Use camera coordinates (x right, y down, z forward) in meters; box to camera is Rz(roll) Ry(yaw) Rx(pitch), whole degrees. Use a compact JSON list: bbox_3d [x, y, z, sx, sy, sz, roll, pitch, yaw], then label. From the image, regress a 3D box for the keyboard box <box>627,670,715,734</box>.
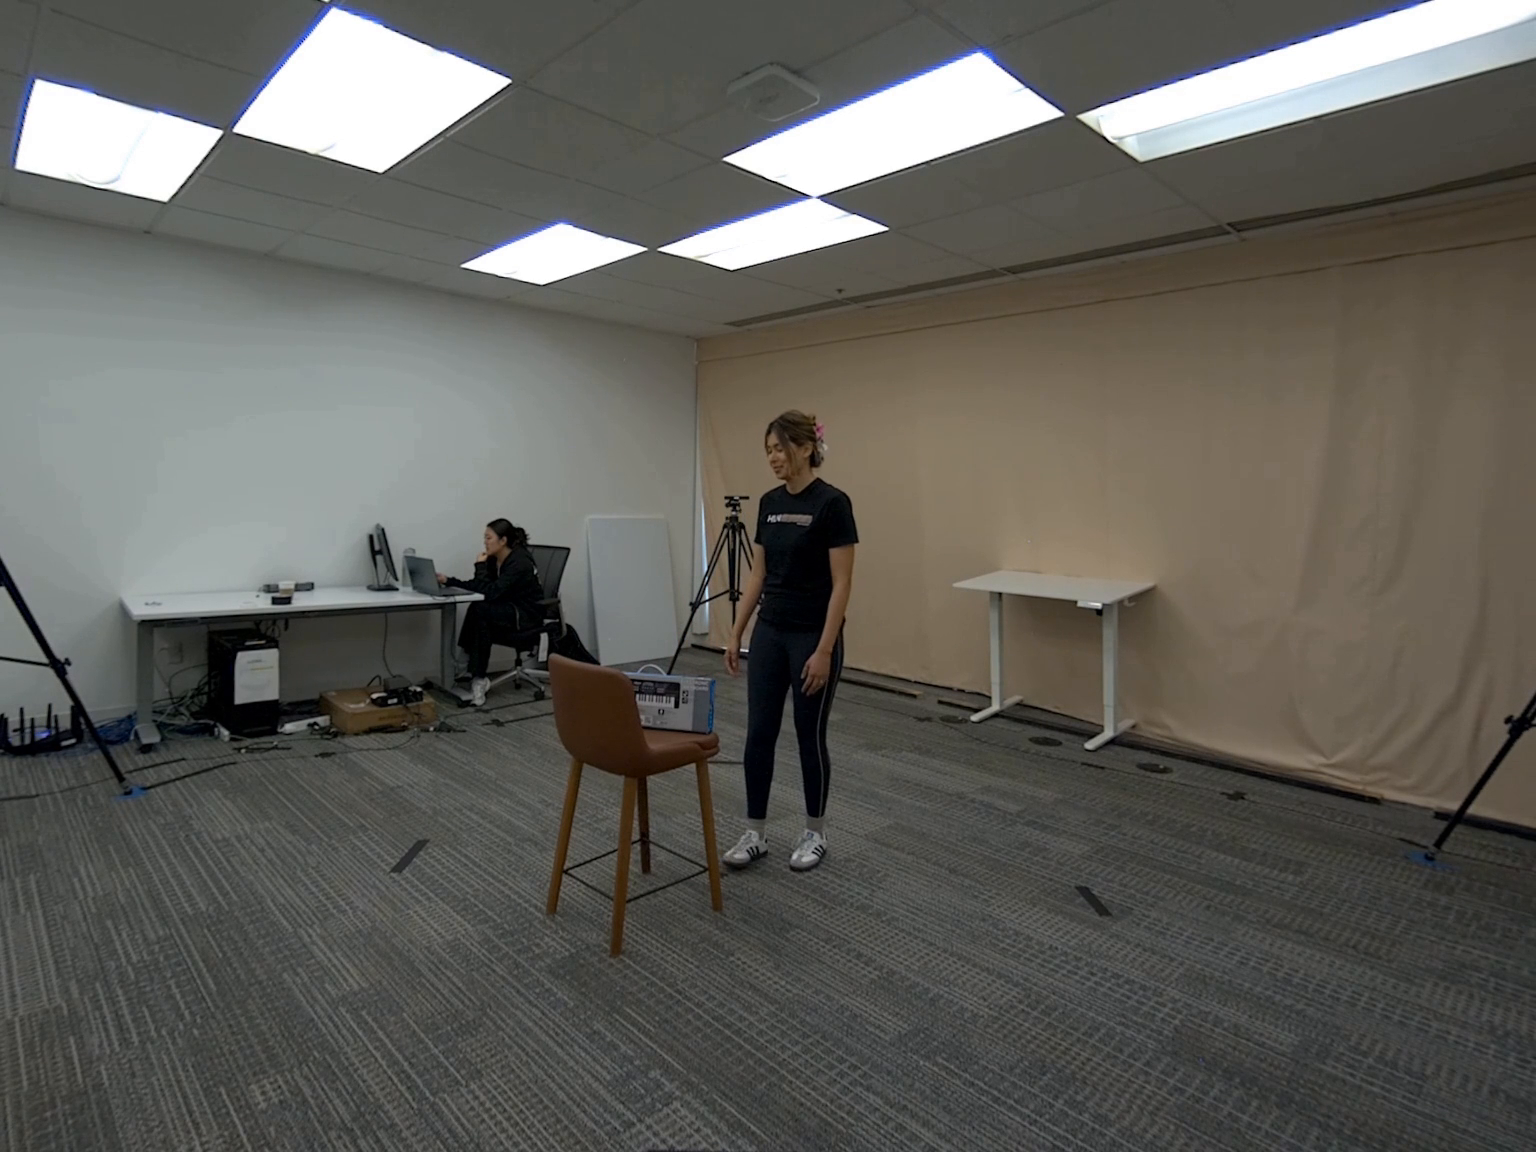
[{"bbox_3d":[-0.407,0.418,2.835,0.442,0.176,0.058,2,-3,14],"label":"keyboard box"}]
